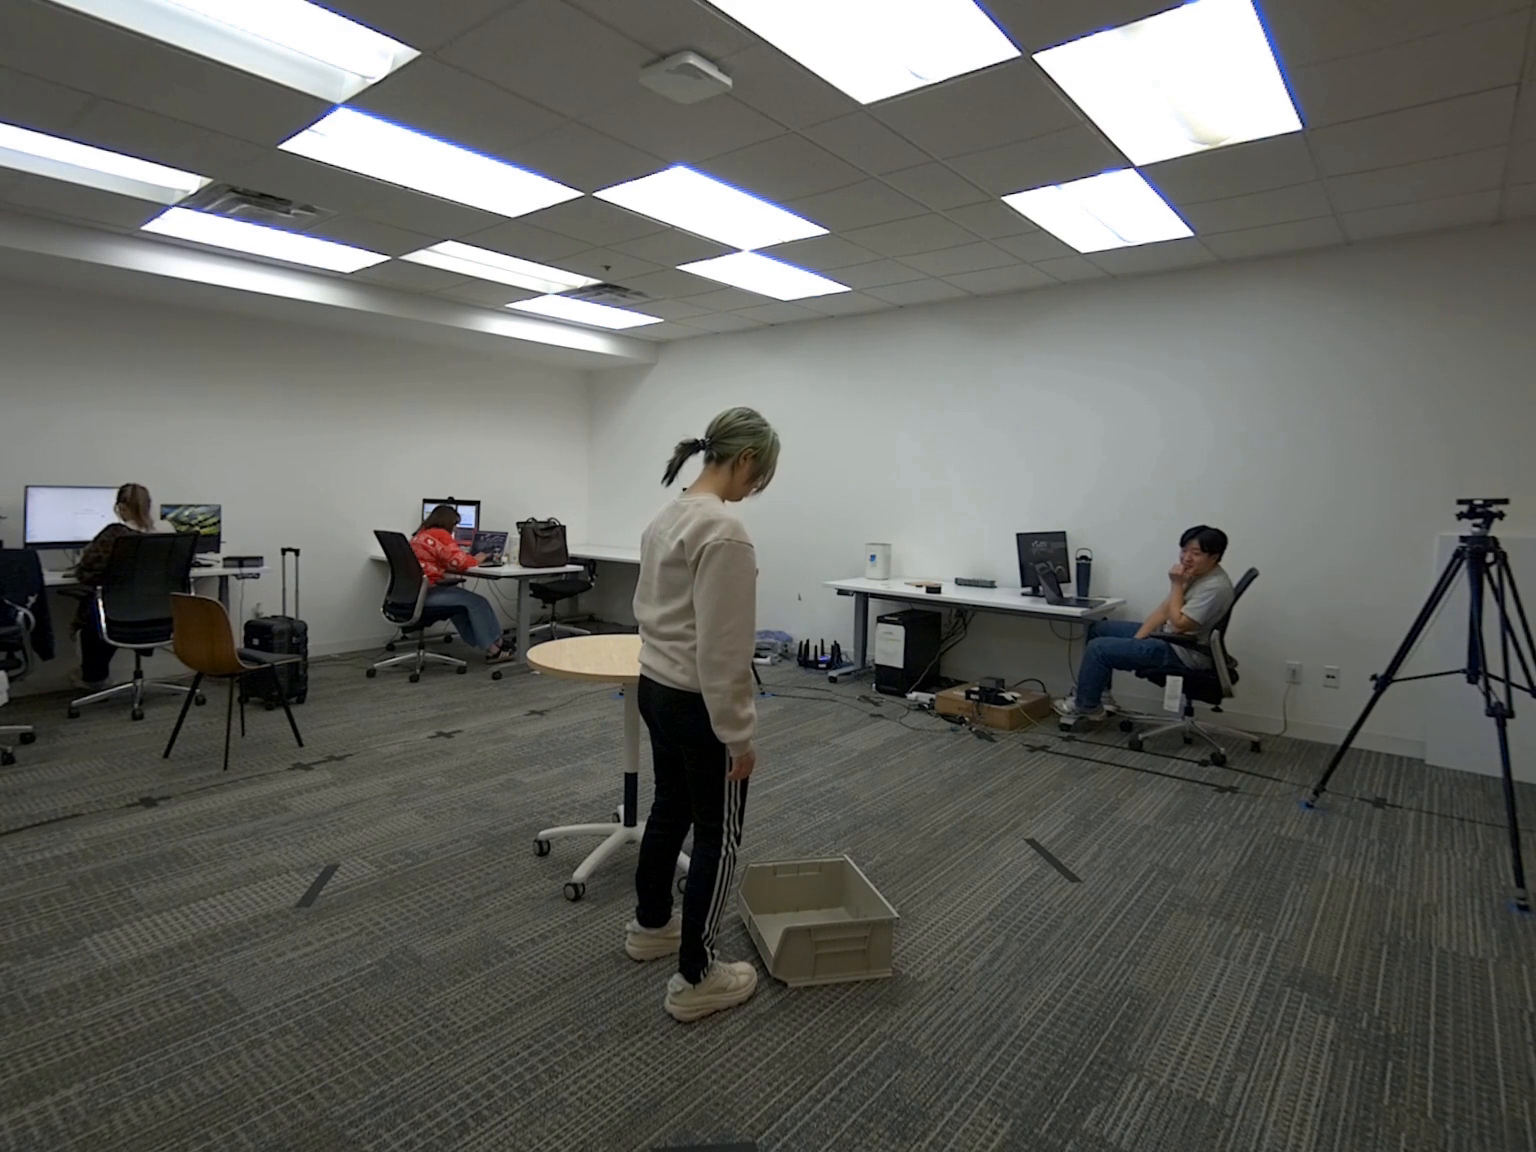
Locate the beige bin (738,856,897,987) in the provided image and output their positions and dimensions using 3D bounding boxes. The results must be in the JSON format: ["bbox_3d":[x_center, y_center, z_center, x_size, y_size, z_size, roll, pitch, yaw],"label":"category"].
[{"bbox_3d":[0.131,1.039,2.596,0.371,0.188,0.430,1,4,-15],"label":"beige bin"}]
